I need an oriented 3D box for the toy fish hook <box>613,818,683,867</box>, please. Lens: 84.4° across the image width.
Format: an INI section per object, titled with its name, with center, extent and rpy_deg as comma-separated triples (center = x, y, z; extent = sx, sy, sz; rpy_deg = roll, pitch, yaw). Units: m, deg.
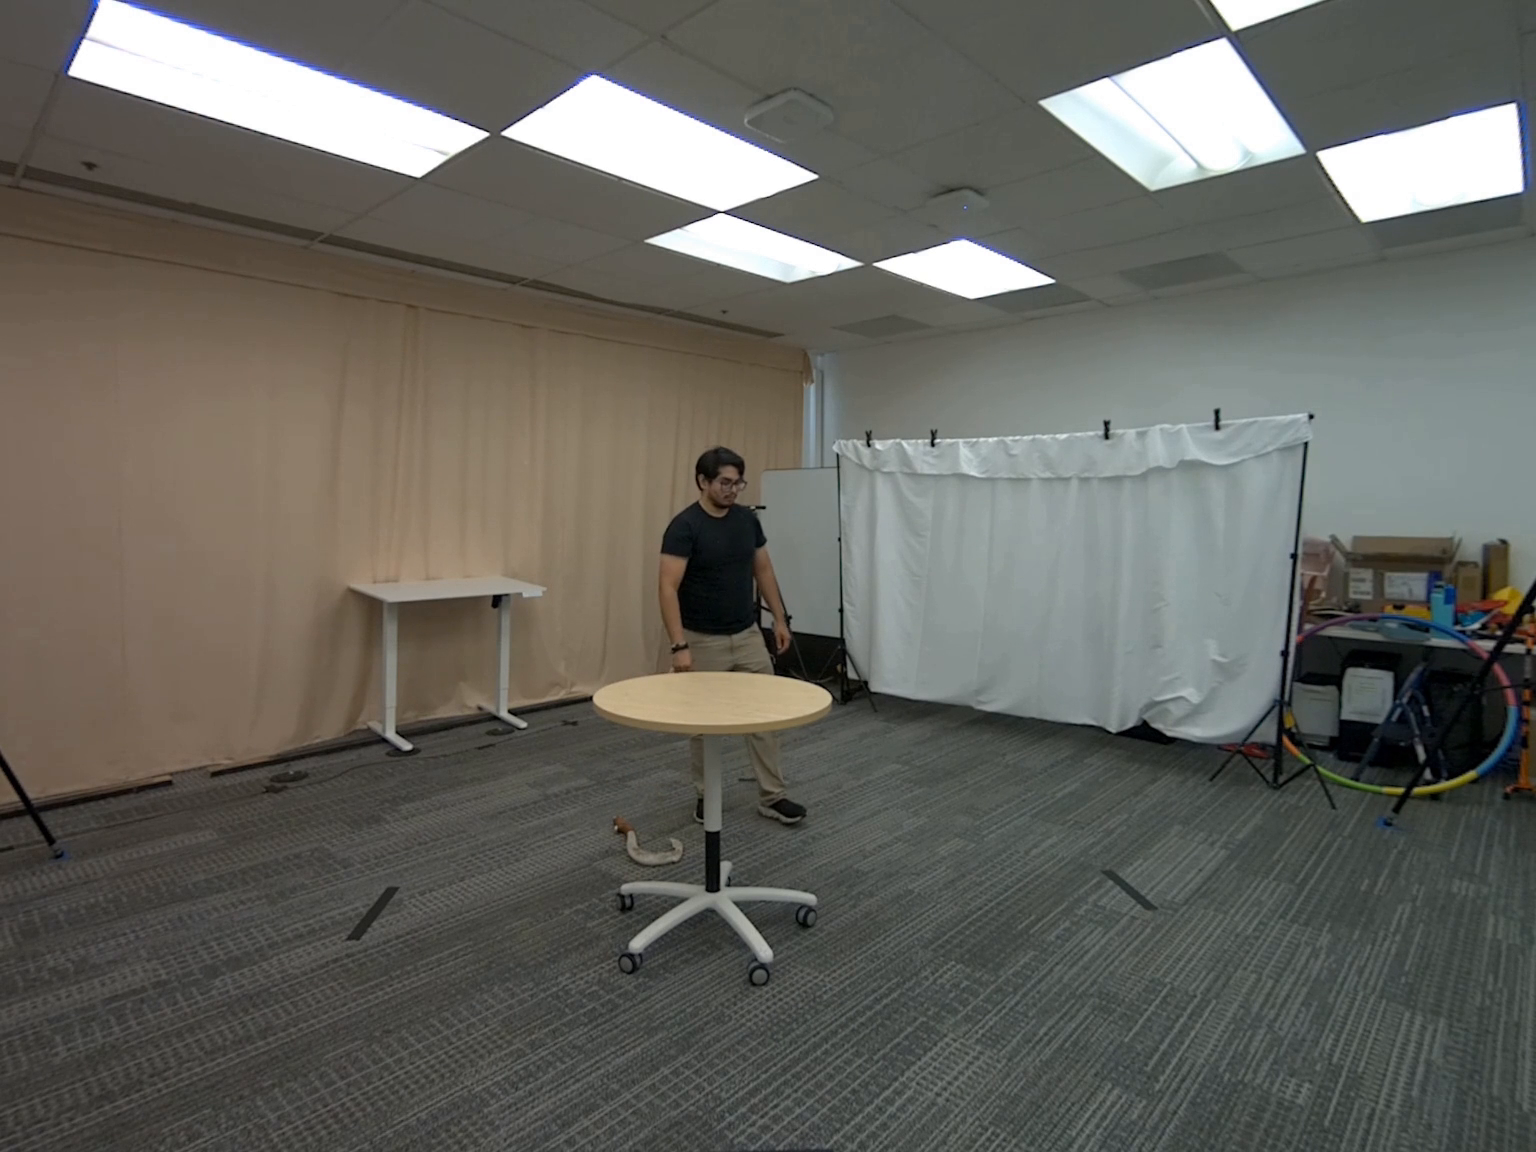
[toy fish hook]
center = -0.508, 1.090, 3.492
extent = 0.219, 0.048, 0.520
rpy_deg = 4, 2, -26
